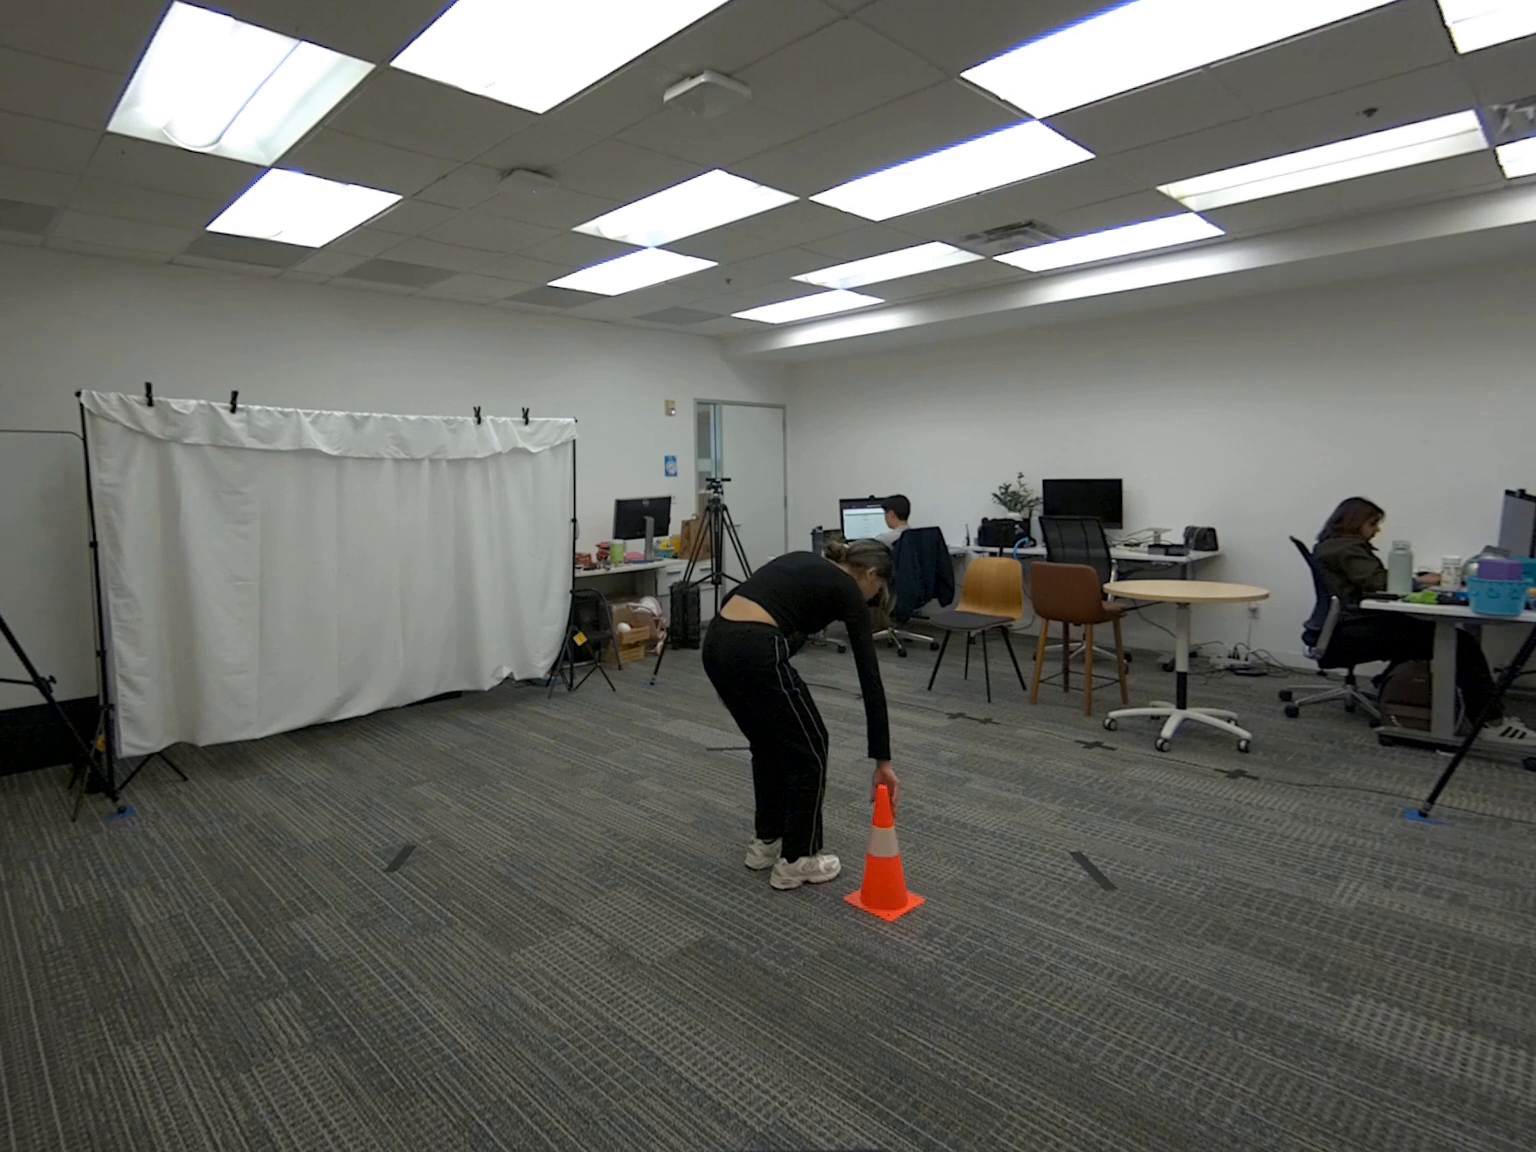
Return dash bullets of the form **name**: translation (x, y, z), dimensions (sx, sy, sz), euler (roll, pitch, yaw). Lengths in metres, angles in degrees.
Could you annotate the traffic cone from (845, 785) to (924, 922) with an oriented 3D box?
- **traffic cone**: translation (0.389, 0.883, 2.805), dimensions (0.200, 0.382, 0.209), euler (-3, 6, -28)
